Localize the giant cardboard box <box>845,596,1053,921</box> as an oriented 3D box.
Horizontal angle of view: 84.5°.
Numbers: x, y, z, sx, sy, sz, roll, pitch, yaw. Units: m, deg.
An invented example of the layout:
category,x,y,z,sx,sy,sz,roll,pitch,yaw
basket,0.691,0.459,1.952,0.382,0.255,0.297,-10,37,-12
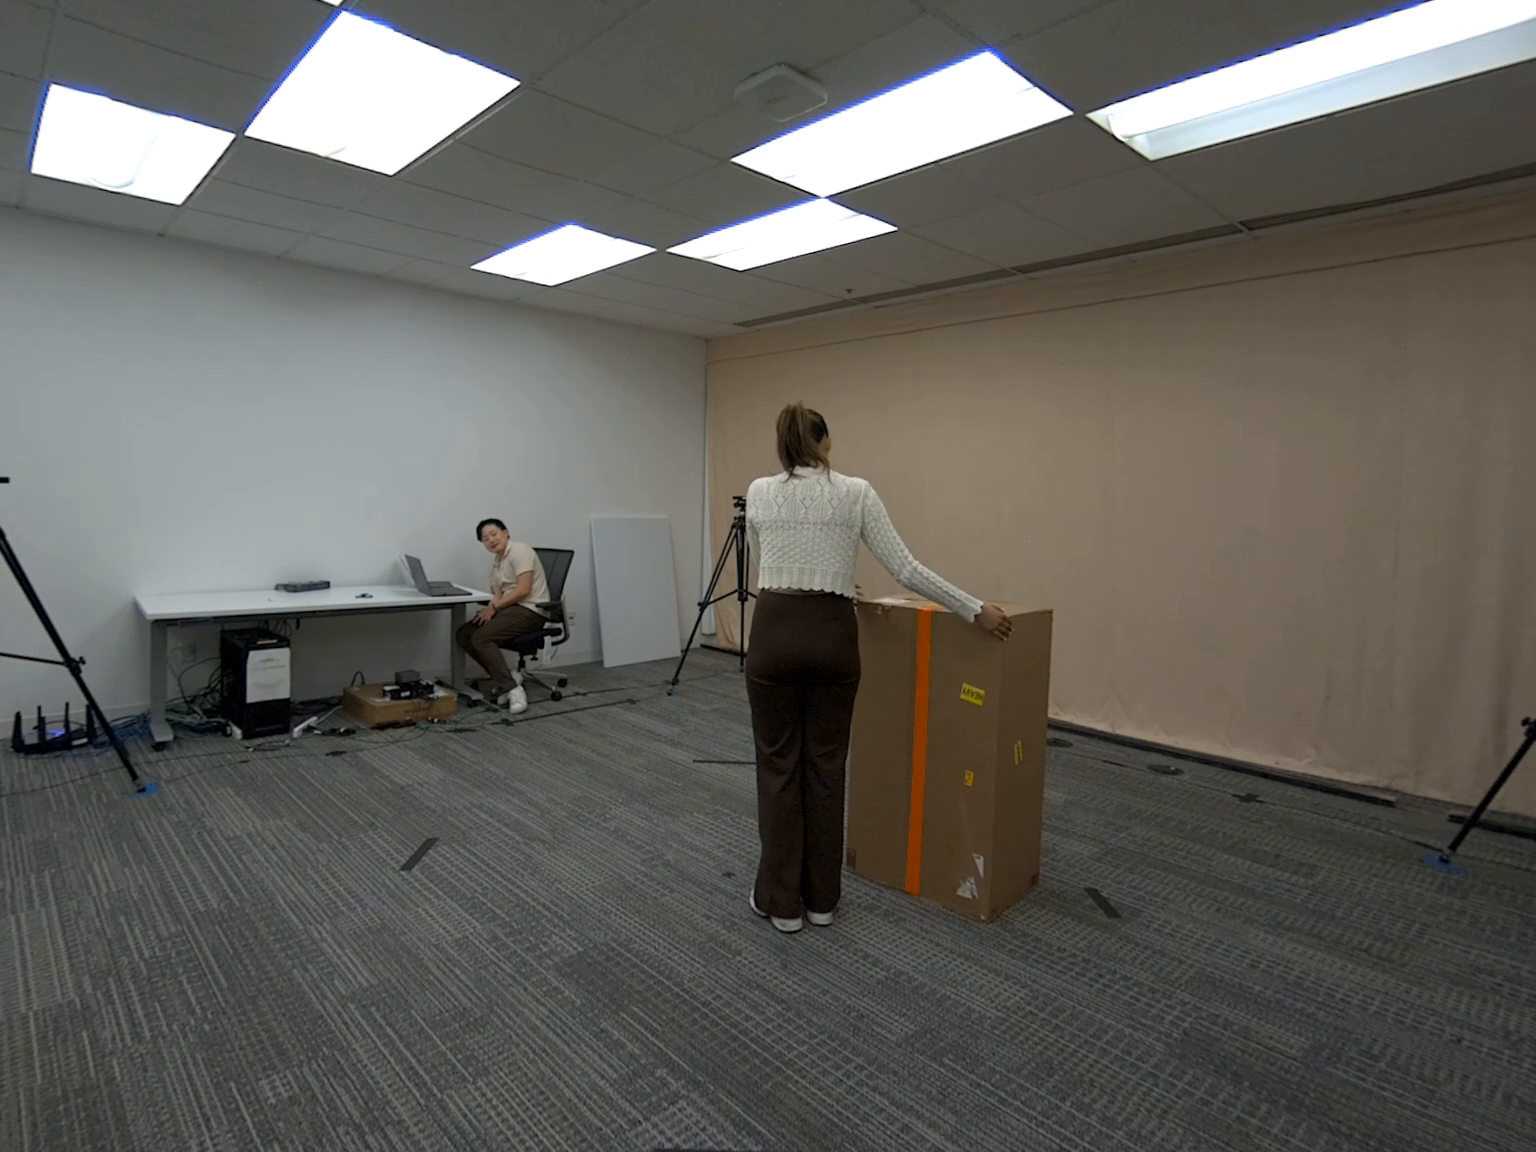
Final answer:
category,x,y,z,sx,sy,sz,roll,pitch,yaw
giant cardboard box,0.655,0.612,3.109,0.592,1.023,0.416,5,4,41
